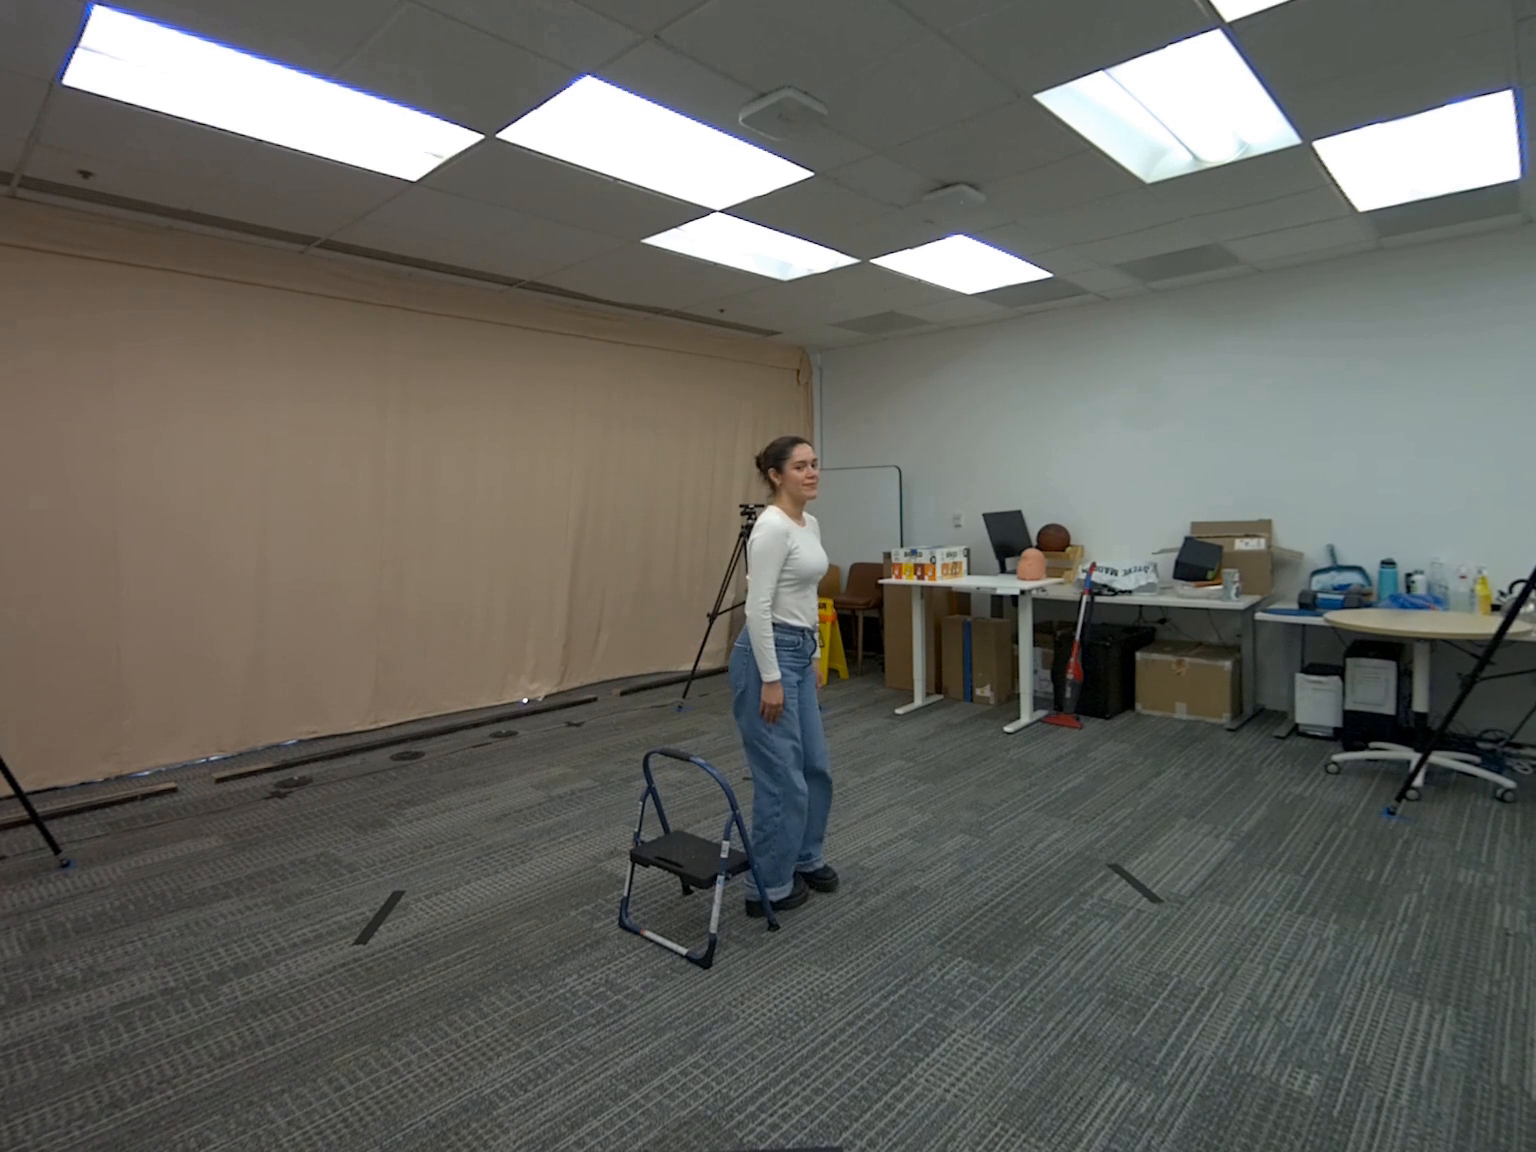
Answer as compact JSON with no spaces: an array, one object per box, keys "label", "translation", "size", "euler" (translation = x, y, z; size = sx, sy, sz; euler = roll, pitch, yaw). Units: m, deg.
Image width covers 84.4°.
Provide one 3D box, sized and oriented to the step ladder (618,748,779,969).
[{"label":"step ladder","translation":[-0.236,0.859,2.767],"size":[0.445,0.605,0.339],"euler":[2,4,40]}]
